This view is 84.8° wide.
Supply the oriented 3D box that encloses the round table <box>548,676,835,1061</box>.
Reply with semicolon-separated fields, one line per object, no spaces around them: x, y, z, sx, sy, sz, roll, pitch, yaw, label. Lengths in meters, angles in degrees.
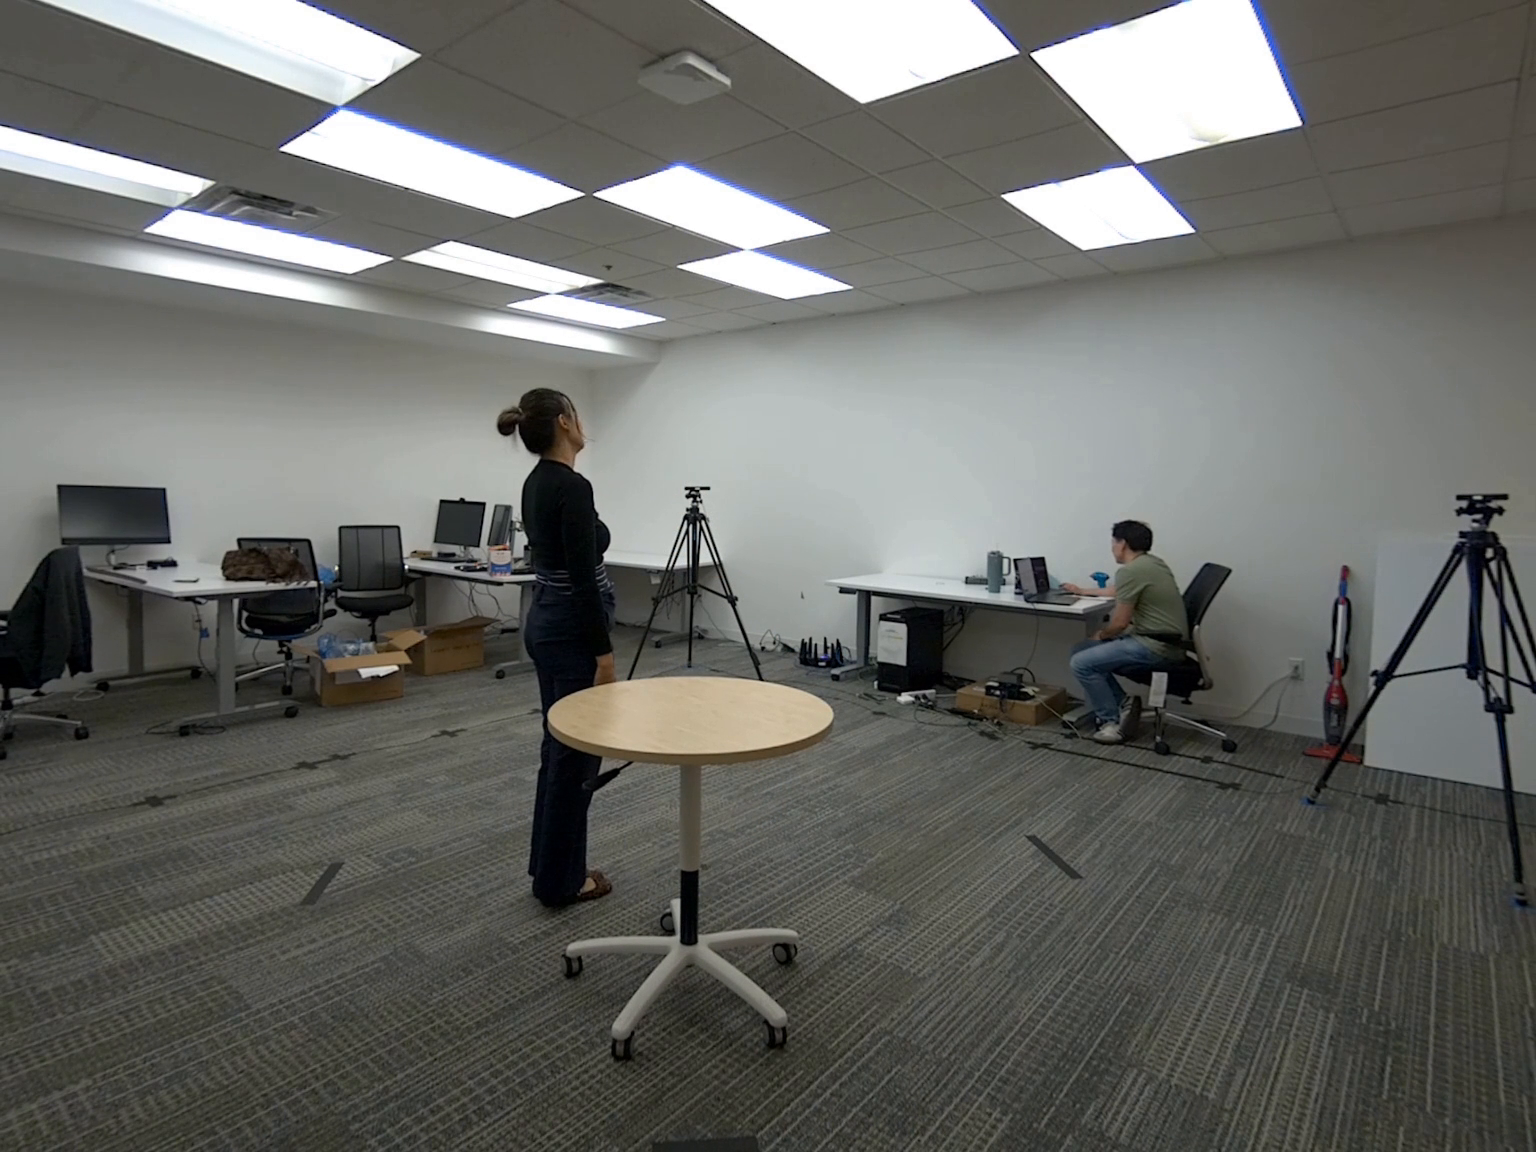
-0.218;0.751;2.335;0.763;0.790;0.768;0;5;-2;round table
